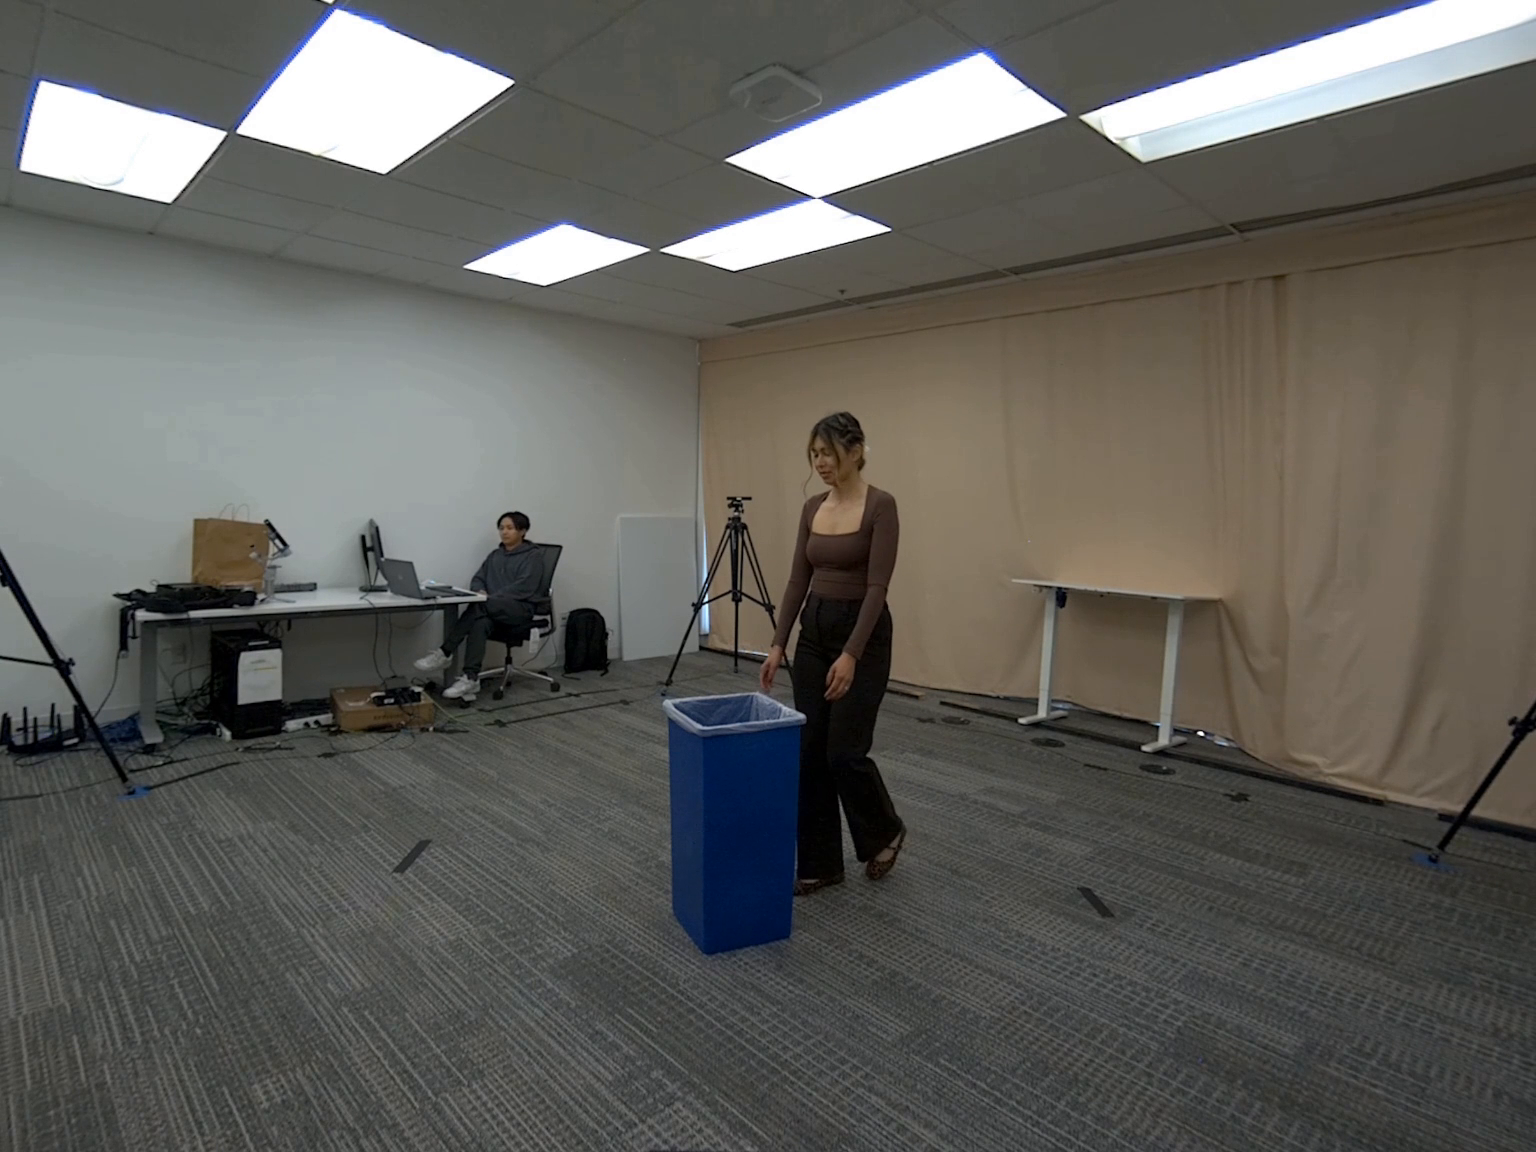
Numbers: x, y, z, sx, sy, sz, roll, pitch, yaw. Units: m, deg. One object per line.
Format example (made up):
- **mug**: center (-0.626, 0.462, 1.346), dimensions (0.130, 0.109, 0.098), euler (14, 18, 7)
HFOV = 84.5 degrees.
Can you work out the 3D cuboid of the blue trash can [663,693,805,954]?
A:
- **blue trash can**: center (-0.127, 0.784, 2.723), dimensions (0.367, 0.712, 0.386), euler (0, 3, -26)
